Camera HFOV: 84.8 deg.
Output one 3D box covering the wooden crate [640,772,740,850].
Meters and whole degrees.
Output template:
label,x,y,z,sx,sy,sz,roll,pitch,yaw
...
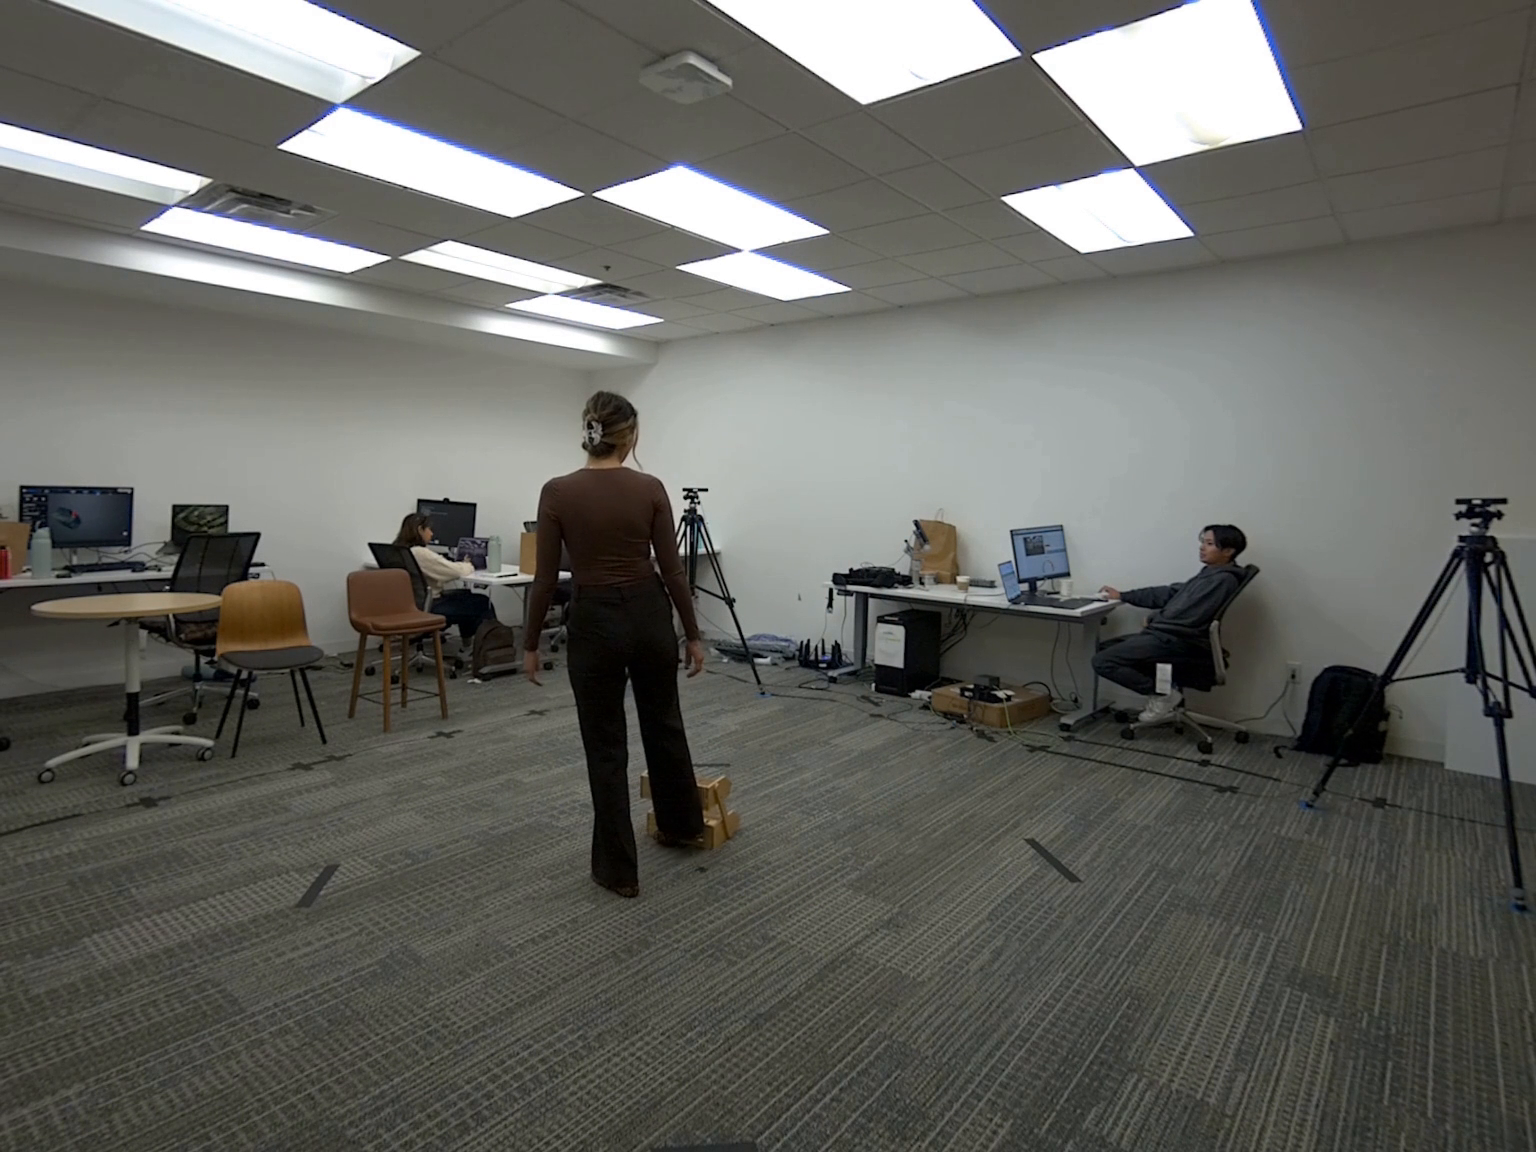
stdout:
label,x,y,z,sx,sy,sz,roll,pitch,yaw
wooden crate,-0.317,0.899,3.428,0.333,0.272,0.295,3,5,24
